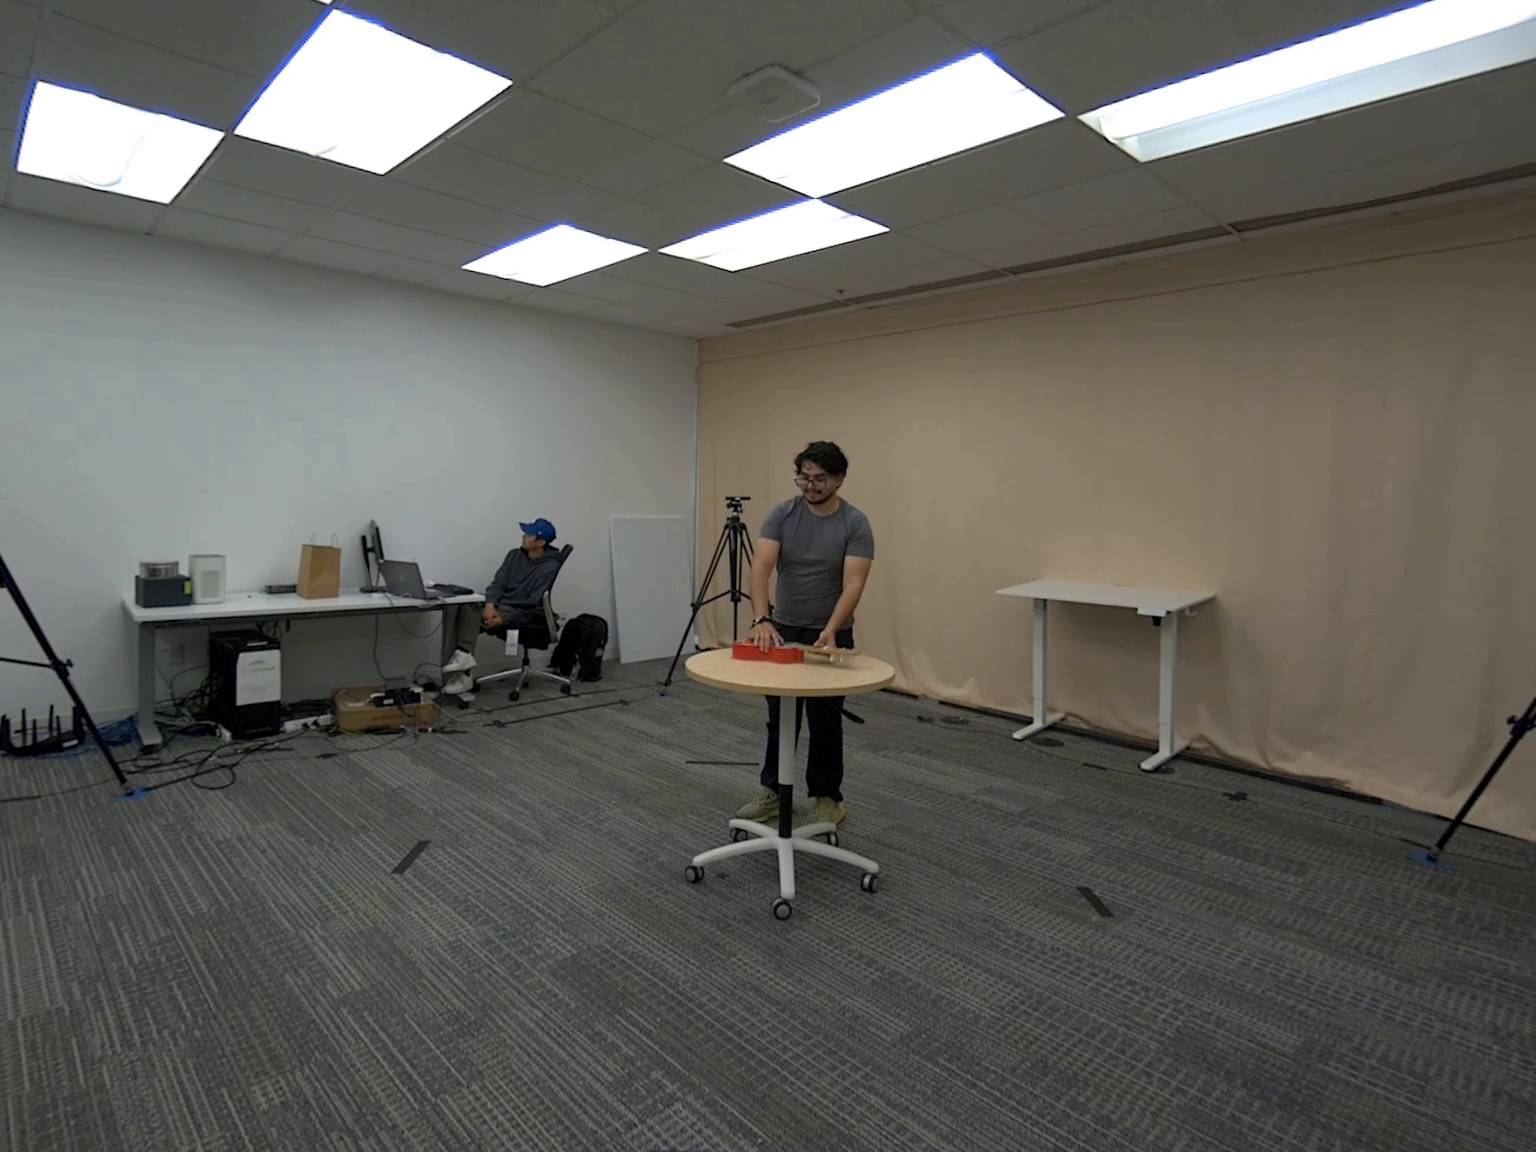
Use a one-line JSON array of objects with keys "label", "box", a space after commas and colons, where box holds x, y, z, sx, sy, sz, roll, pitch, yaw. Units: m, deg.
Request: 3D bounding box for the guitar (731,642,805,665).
[{"label": "guitar", "box": [0.060, 0.290, 3.156, 0.510, 0.070, 0.188, 5, 4, 37]}]
